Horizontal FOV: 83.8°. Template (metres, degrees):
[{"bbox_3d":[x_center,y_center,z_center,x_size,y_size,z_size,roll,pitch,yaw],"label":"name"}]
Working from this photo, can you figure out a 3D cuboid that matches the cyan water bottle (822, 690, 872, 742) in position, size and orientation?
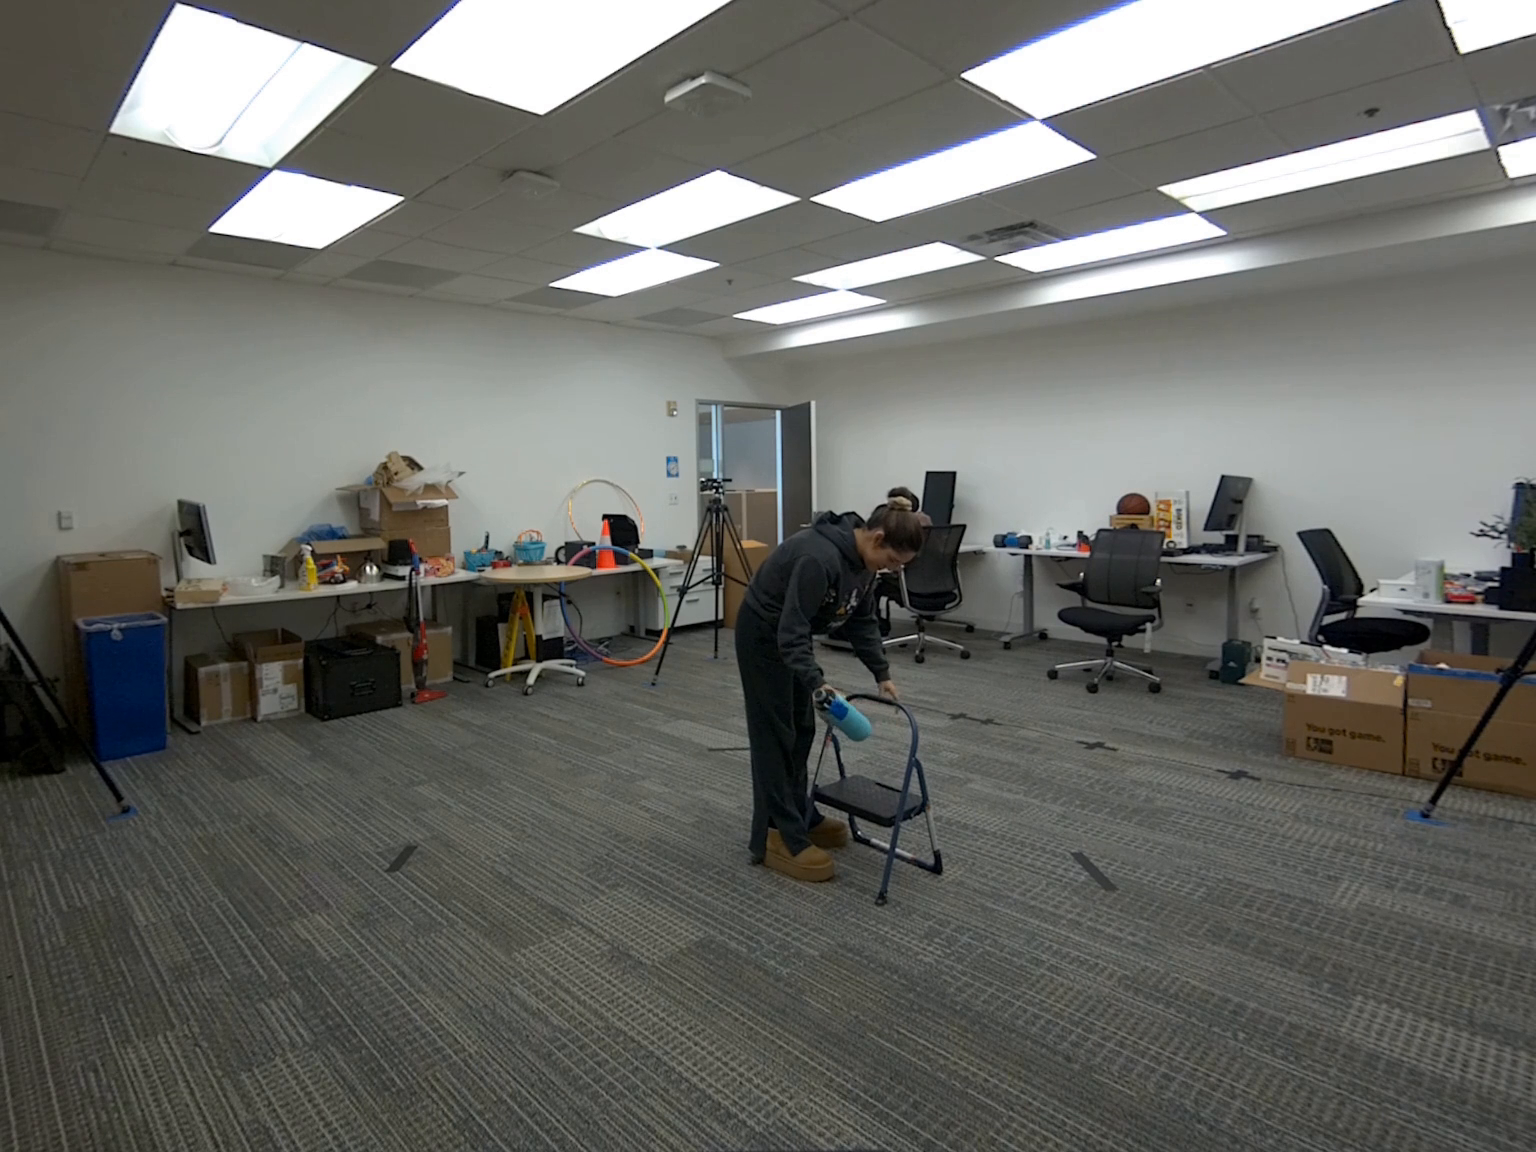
[{"bbox_3d":[0.265,0.451,2.844,0.095,0.093,0.272,2,-29,35],"label":"cyan water bottle"}]
